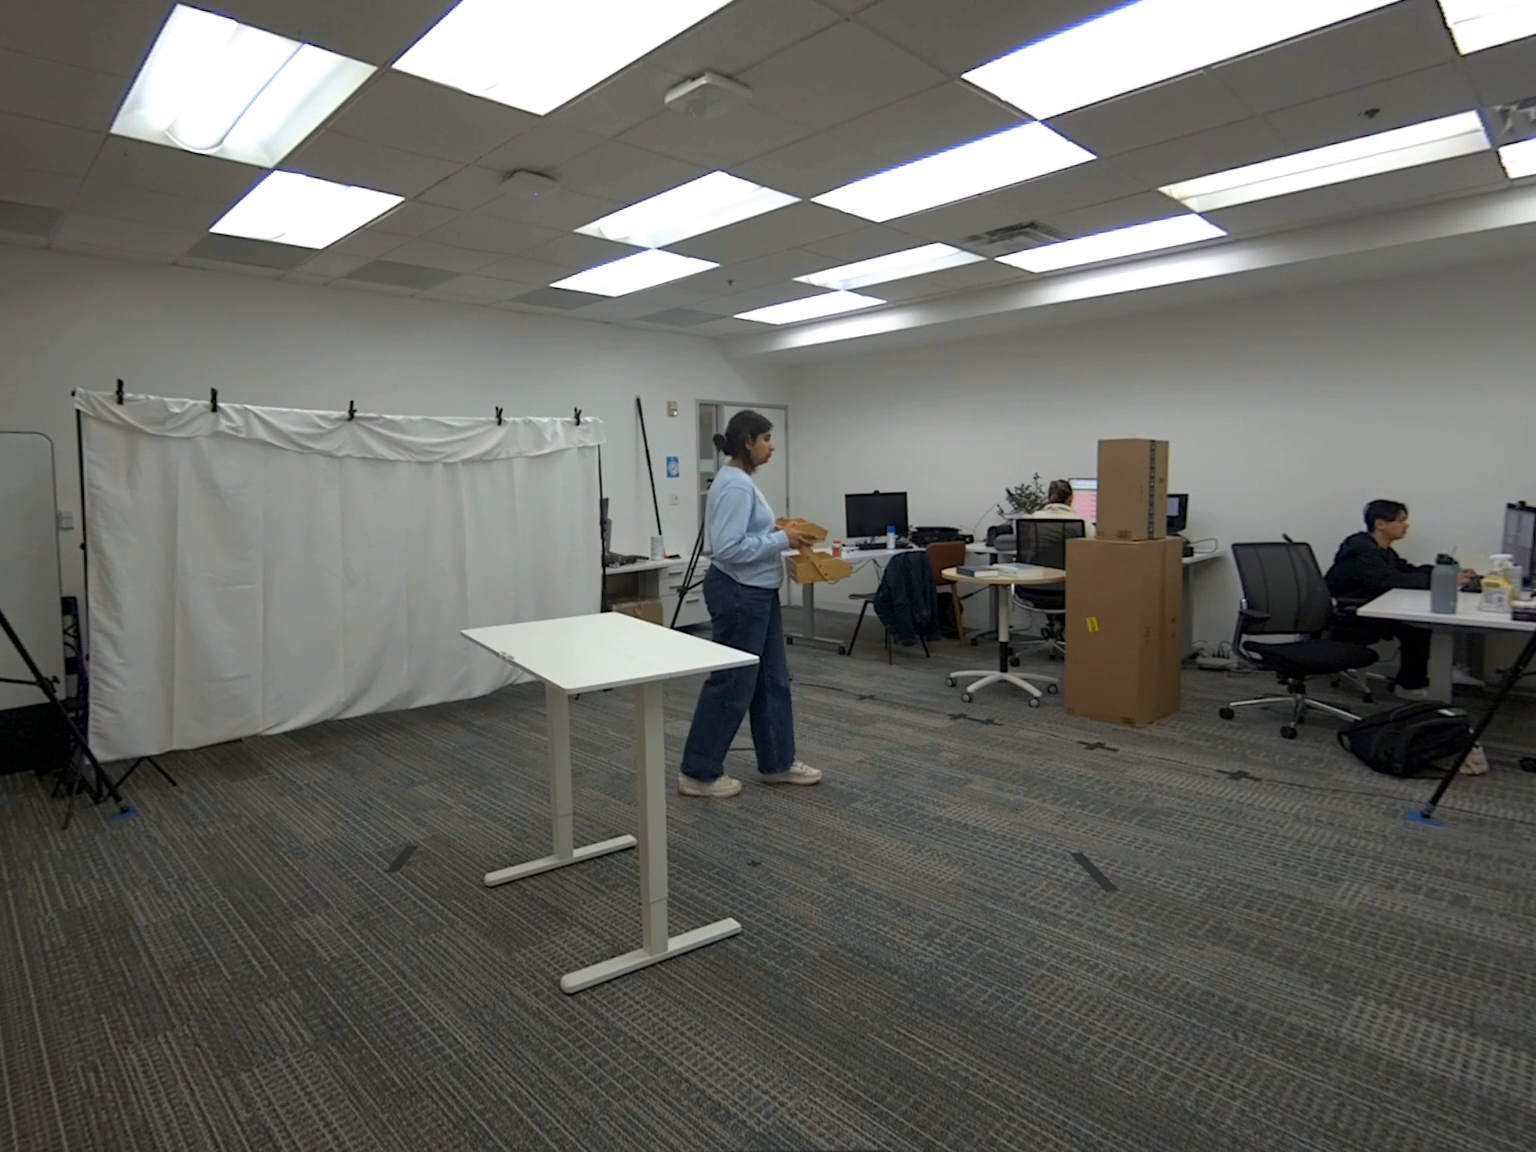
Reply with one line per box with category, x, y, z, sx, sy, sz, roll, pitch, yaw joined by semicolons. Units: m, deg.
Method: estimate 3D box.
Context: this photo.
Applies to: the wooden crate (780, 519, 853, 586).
wooden crate;0.192;-0.127;3.834;0.301;0.271;0.328;-8;7;-5
